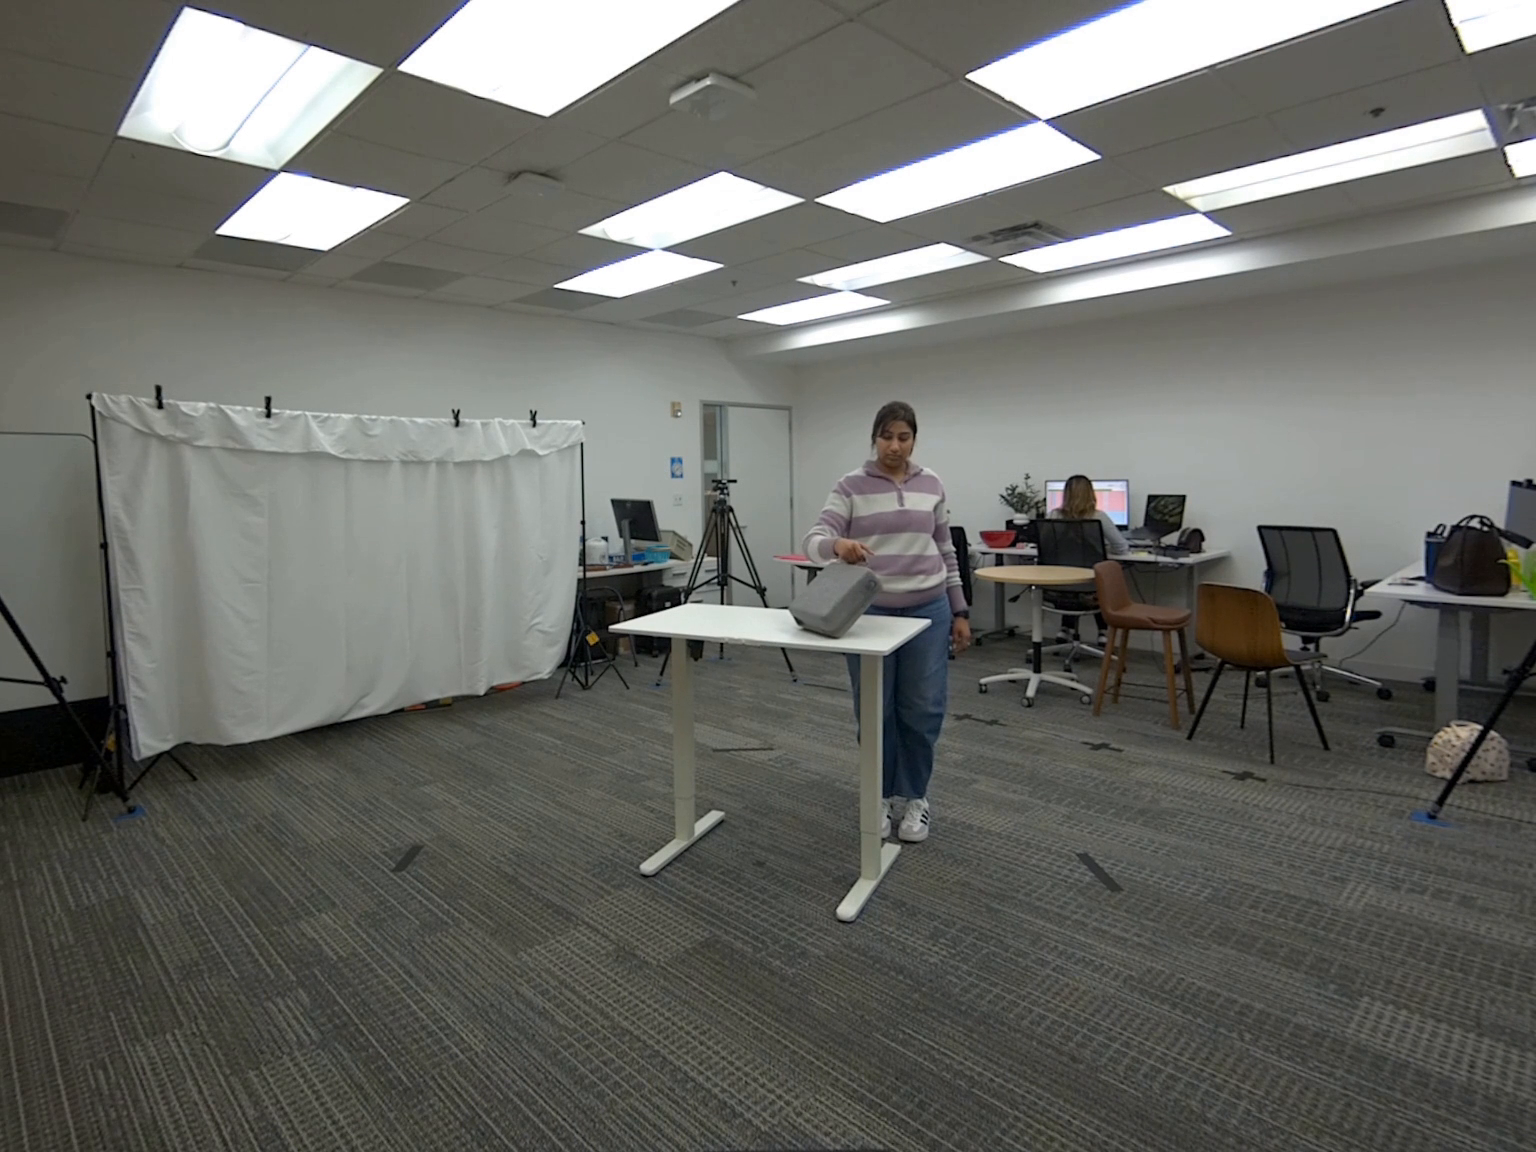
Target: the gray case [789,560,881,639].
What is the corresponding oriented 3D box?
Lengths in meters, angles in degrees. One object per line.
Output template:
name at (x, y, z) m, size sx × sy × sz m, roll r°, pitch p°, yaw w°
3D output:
gray case at (0.222, 0.078, 2.855) m, size 0.260 × 0.102 × 0.263 m, roll -46°, pitch 22°, yaw -14°
